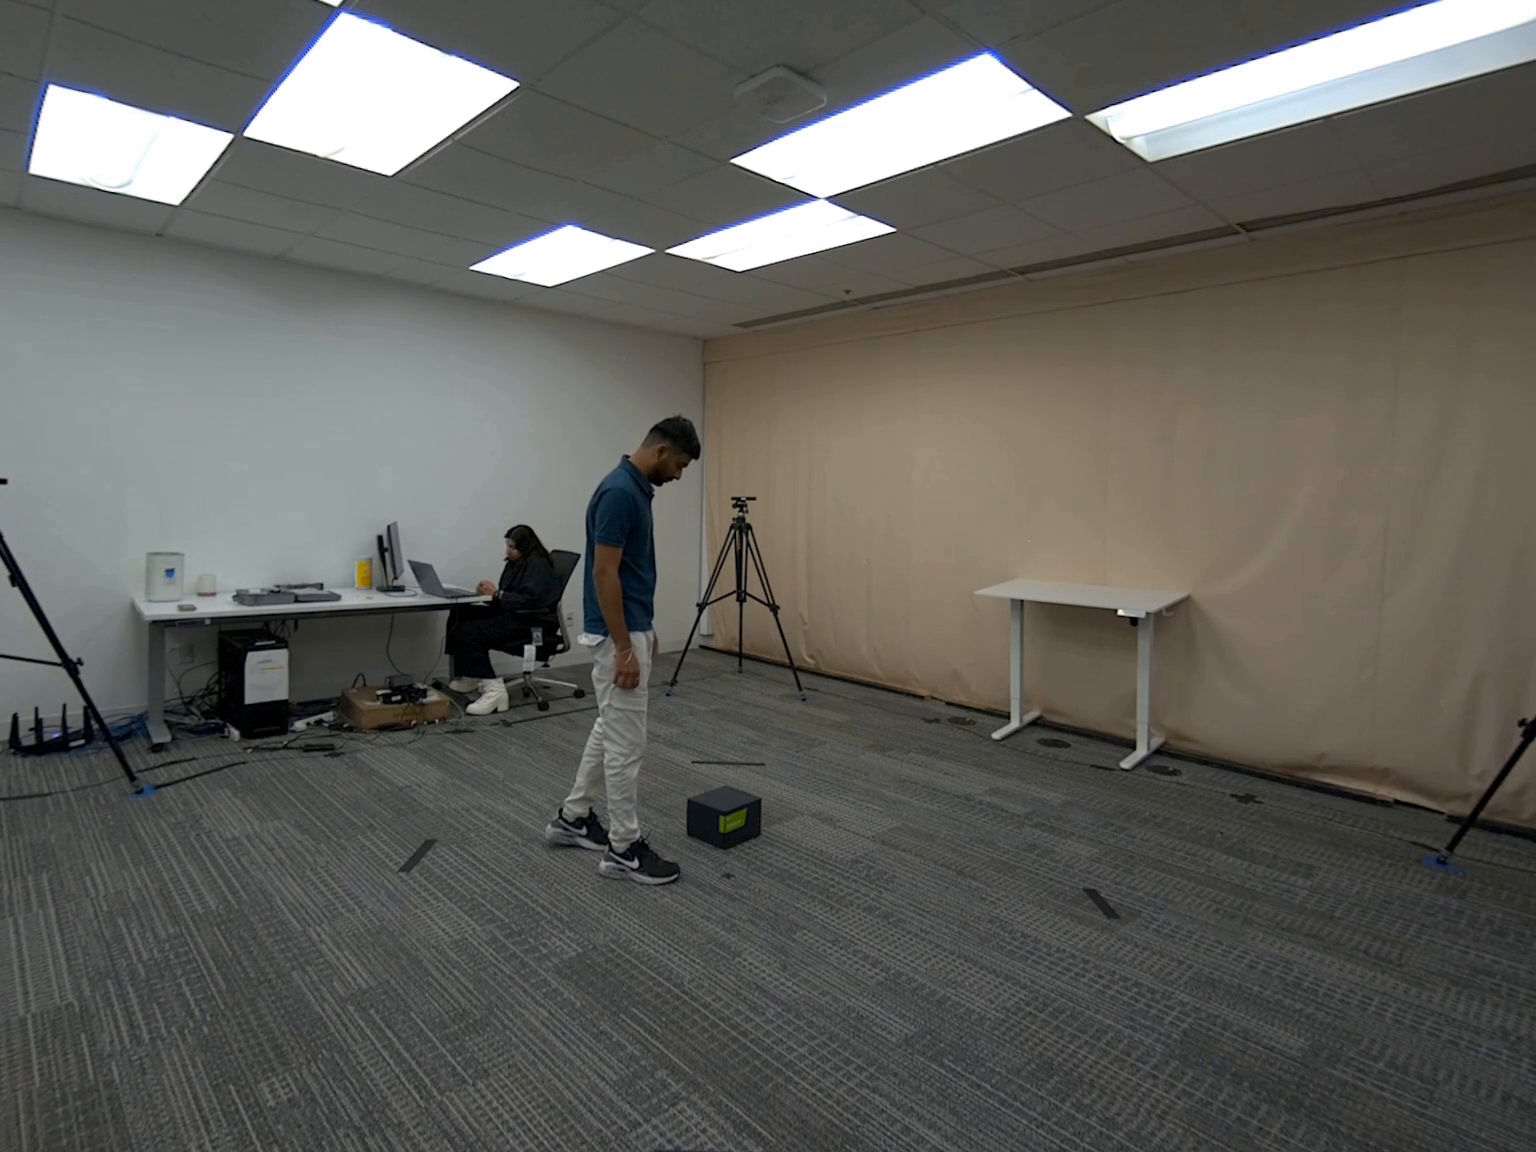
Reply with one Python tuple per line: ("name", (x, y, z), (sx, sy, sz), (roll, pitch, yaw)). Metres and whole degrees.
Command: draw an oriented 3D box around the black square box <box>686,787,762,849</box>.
("black square box", (-0.187, 0.988, 3.476), (0.222, 0.155, 0.223), (5, 5, 41))
